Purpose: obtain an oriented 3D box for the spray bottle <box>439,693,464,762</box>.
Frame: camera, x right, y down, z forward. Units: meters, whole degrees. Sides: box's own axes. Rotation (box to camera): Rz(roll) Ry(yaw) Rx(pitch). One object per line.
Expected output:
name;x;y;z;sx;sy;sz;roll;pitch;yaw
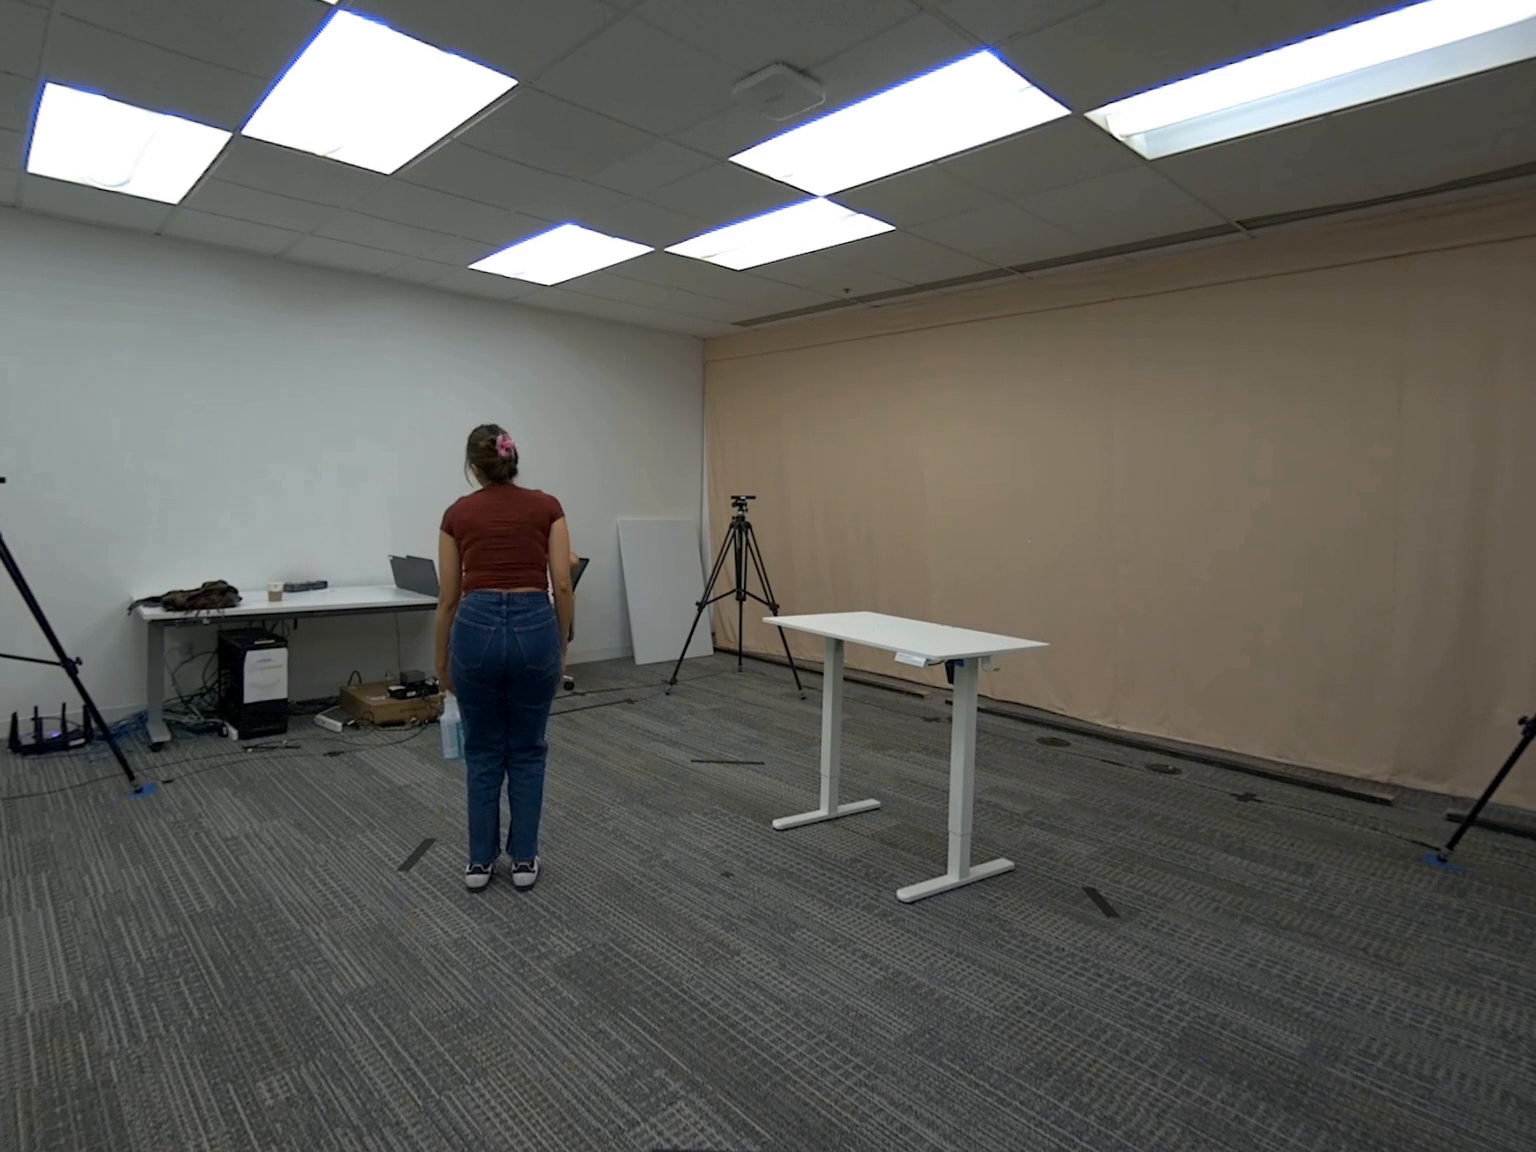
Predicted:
spray bottle;-1.182;0.545;3.144;0.092;0.297;0.085;-6;0;44
